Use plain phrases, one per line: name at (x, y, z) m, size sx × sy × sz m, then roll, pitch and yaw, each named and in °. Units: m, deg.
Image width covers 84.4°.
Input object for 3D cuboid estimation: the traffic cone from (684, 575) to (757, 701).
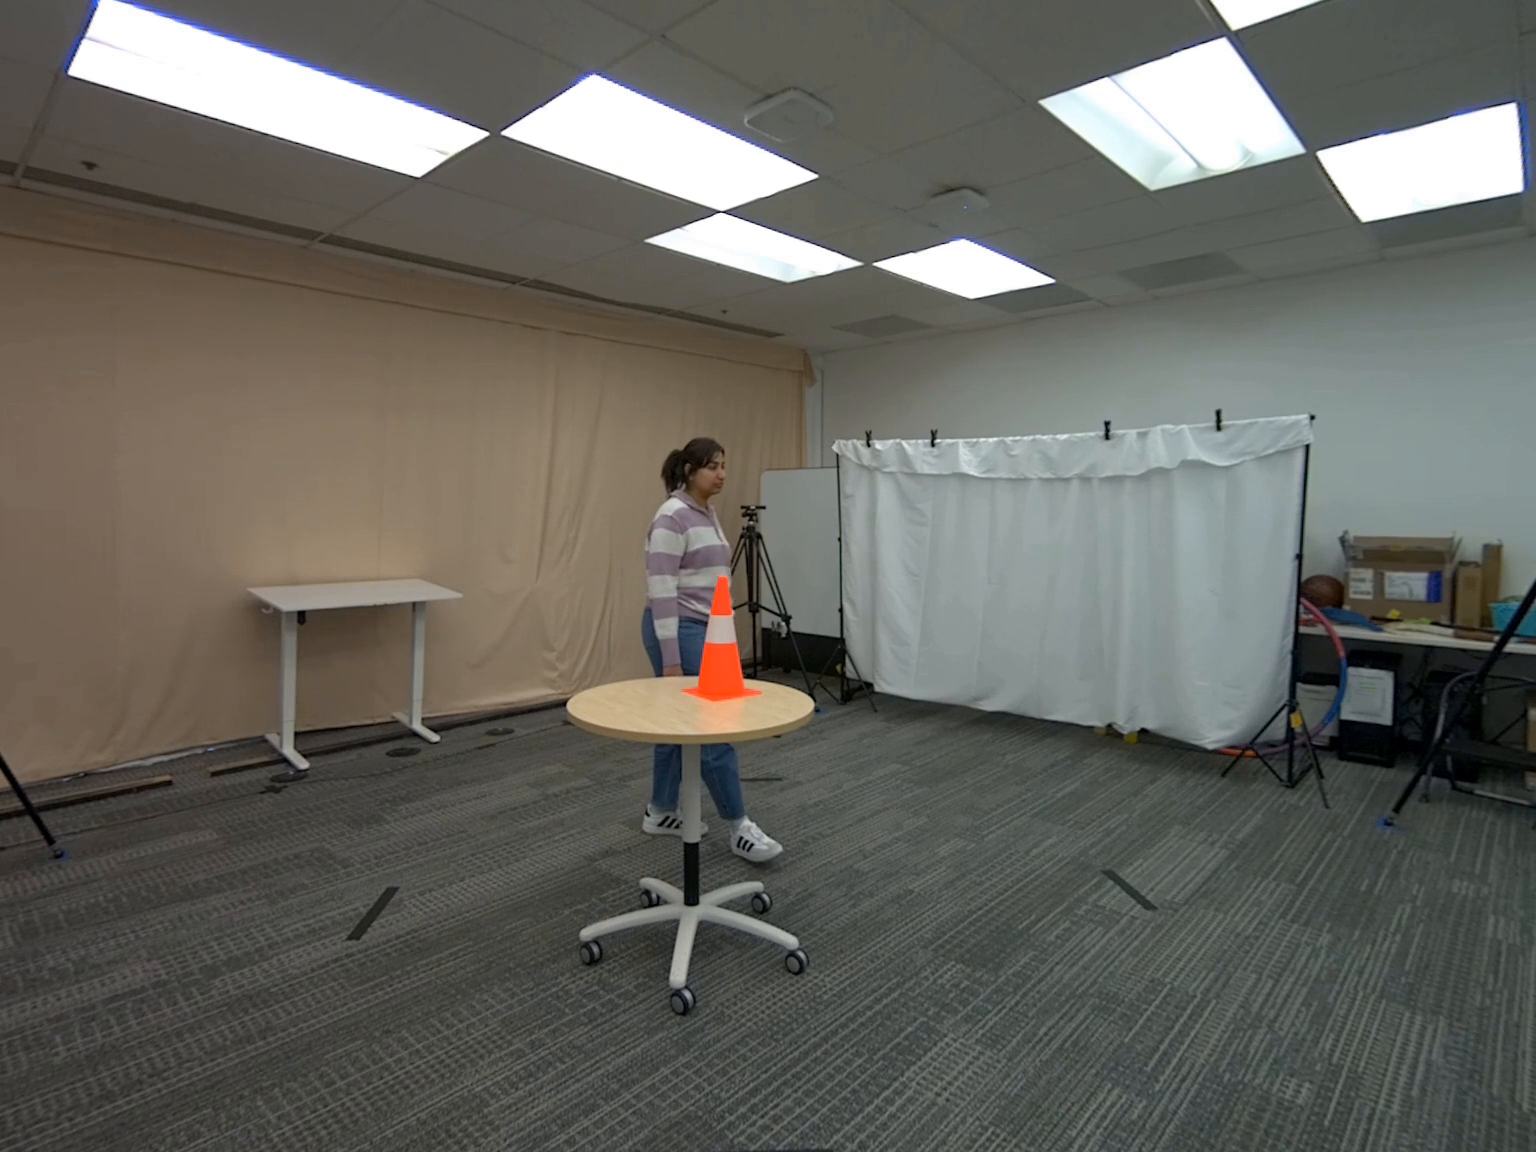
traffic cone at (-0.154, 0.195, 2.744) m, size 0.209 × 0.383 × 0.199 m, roll 1°, pitch 4°, yaw 33°
